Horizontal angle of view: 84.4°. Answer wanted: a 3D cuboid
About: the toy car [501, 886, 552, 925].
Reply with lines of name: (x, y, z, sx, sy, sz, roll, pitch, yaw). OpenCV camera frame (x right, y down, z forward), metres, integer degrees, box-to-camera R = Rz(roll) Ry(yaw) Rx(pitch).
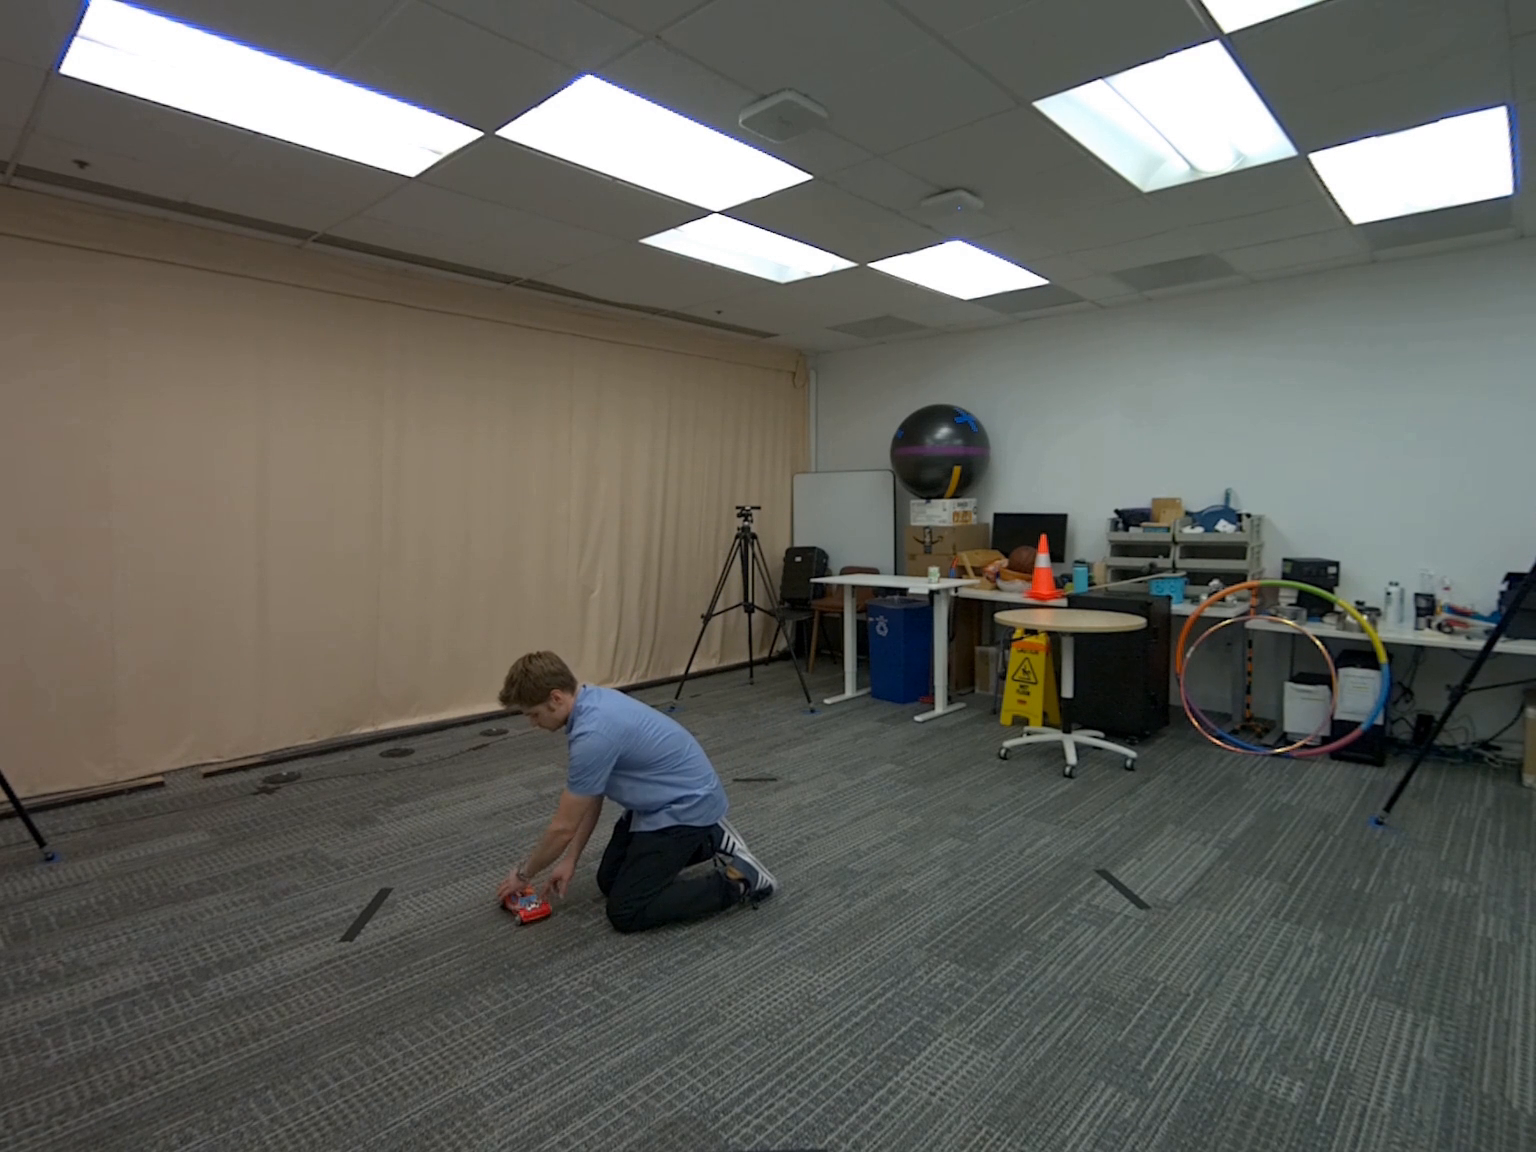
toy car: (-0.853, 1.133, 2.910, 0.126, 0.083, 0.264, -4, 16, -38)
